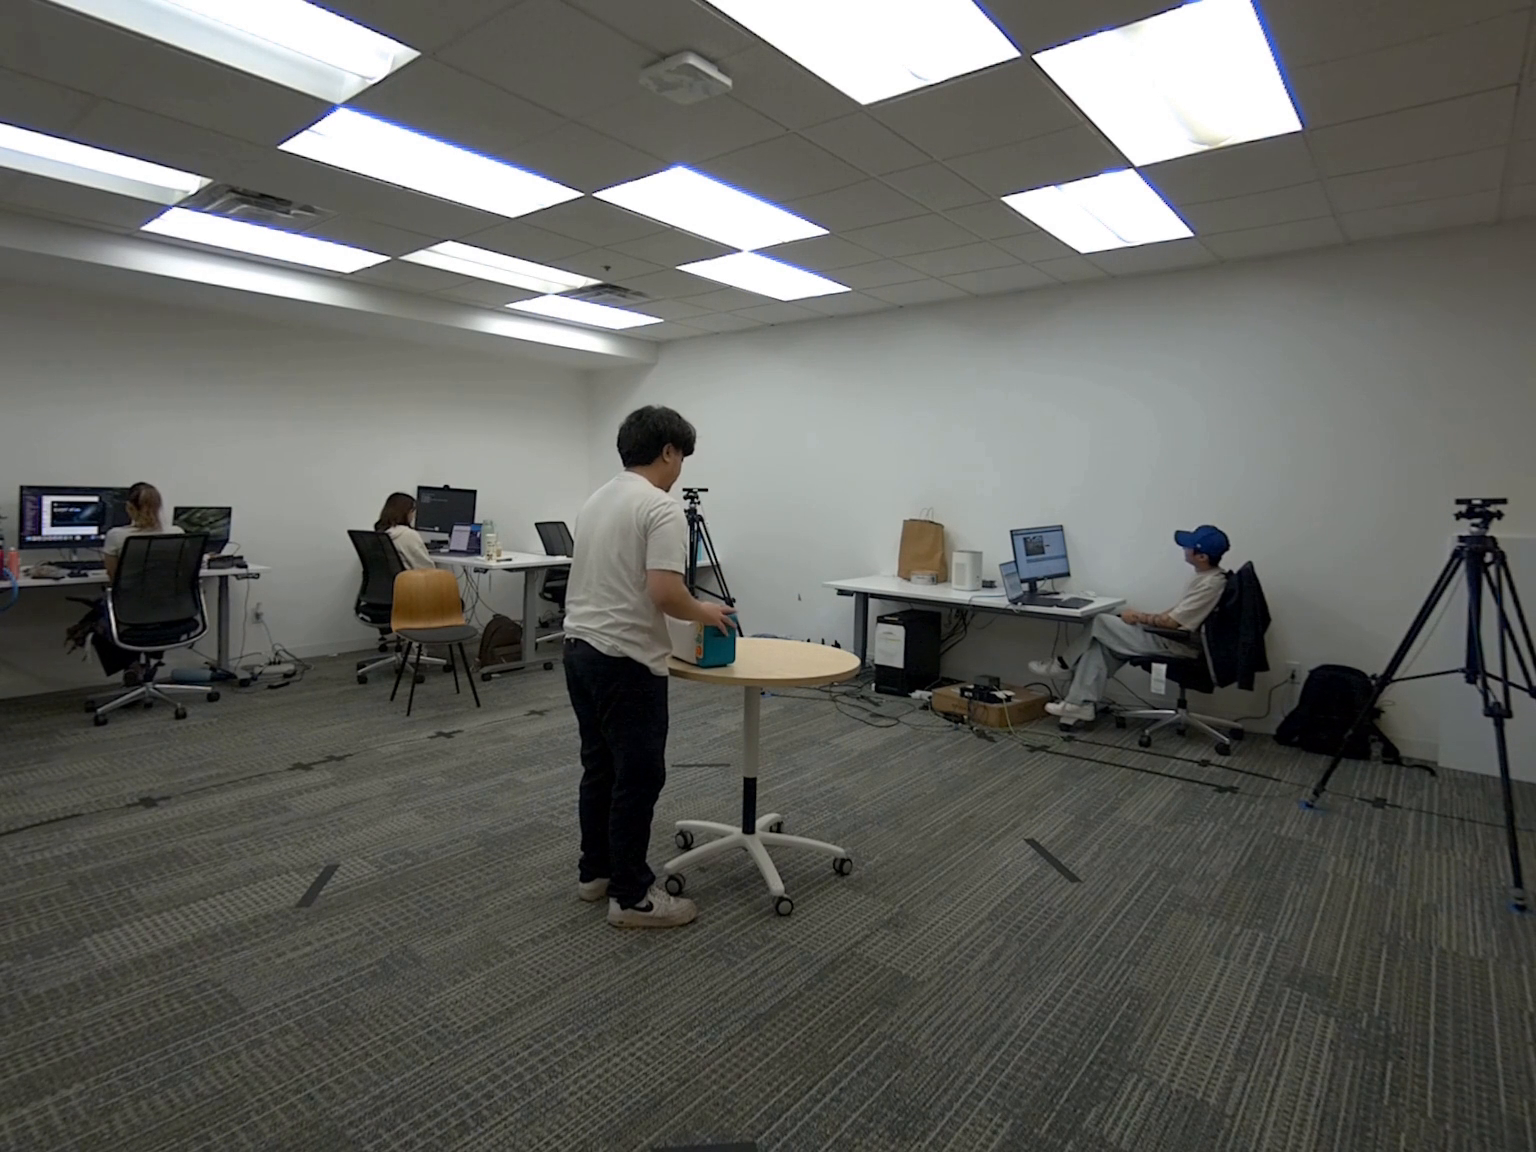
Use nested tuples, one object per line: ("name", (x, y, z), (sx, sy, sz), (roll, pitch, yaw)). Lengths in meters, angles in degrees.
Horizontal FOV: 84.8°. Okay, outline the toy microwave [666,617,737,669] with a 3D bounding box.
("toy microwave", (-0.251, 0.203, 2.942), (0.148, 0.183, 0.295), (-1, 5, -34))
